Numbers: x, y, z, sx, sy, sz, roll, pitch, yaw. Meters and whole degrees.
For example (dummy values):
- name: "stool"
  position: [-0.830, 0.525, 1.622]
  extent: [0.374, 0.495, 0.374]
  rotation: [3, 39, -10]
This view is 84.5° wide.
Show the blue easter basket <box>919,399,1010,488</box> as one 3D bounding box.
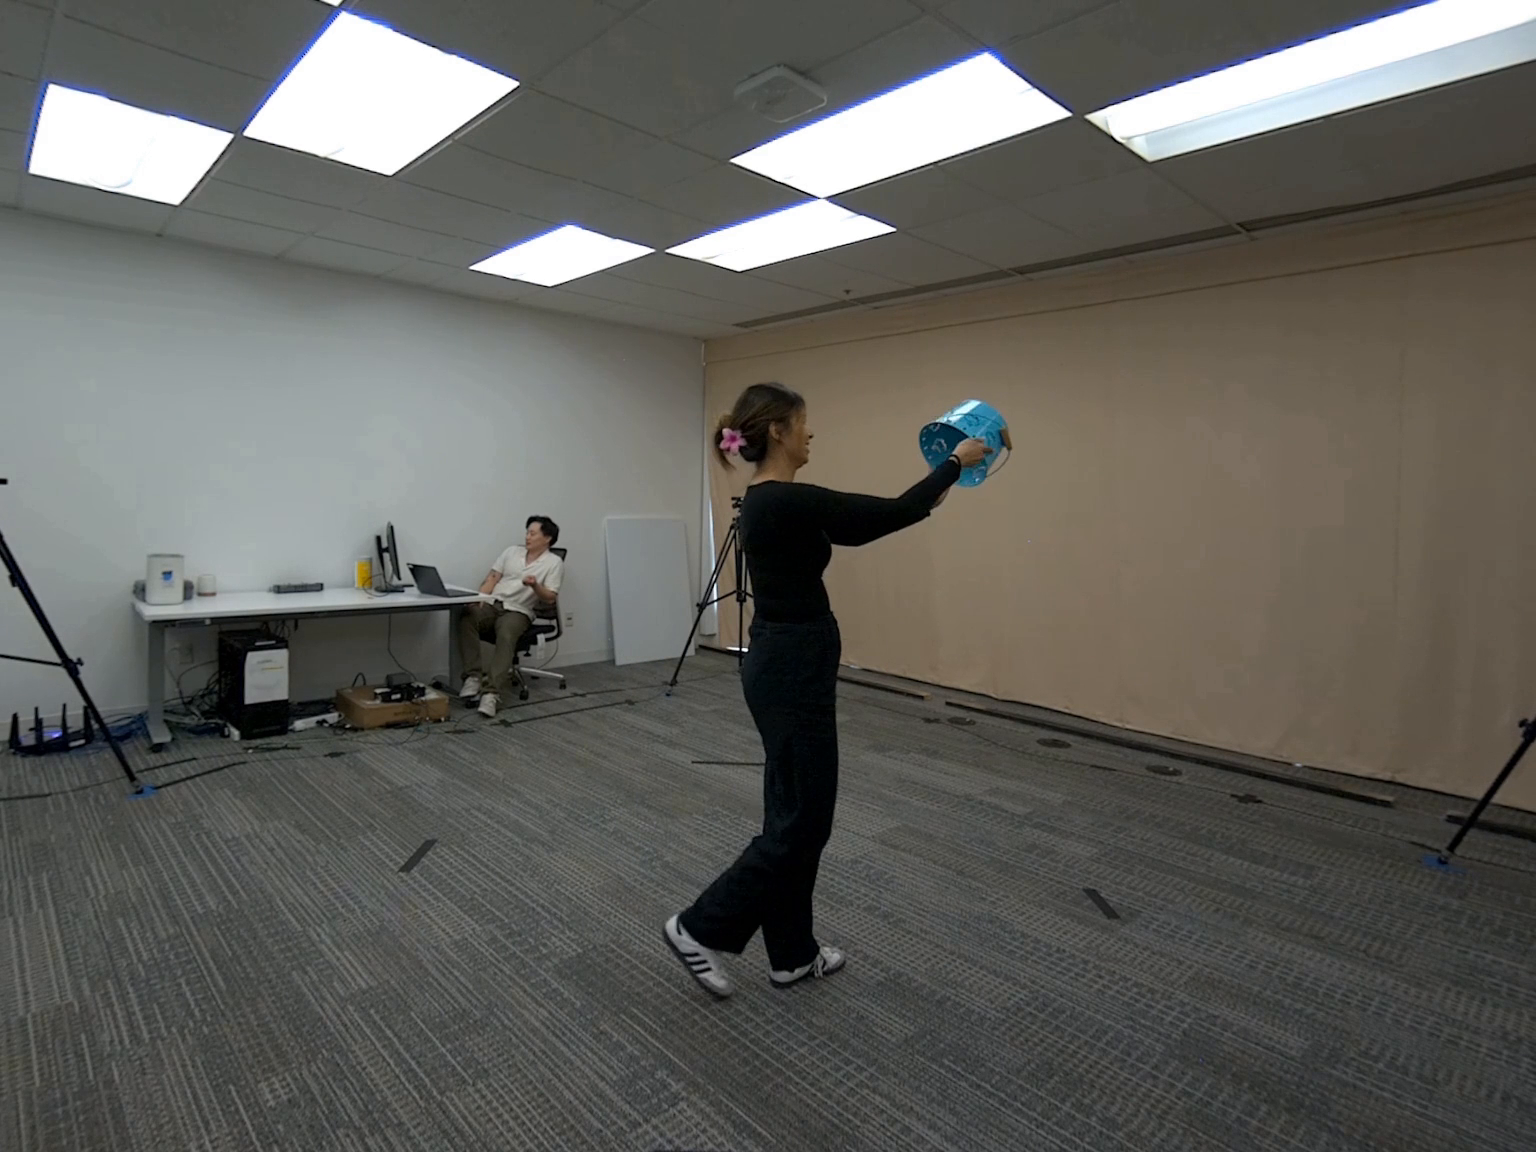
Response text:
- name: "blue easter basket"
  position: [0.594, -0.389, 2.453]
  extent: [0.155, 0.238, 0.249]
  rotation: [-41, 24, -23]
